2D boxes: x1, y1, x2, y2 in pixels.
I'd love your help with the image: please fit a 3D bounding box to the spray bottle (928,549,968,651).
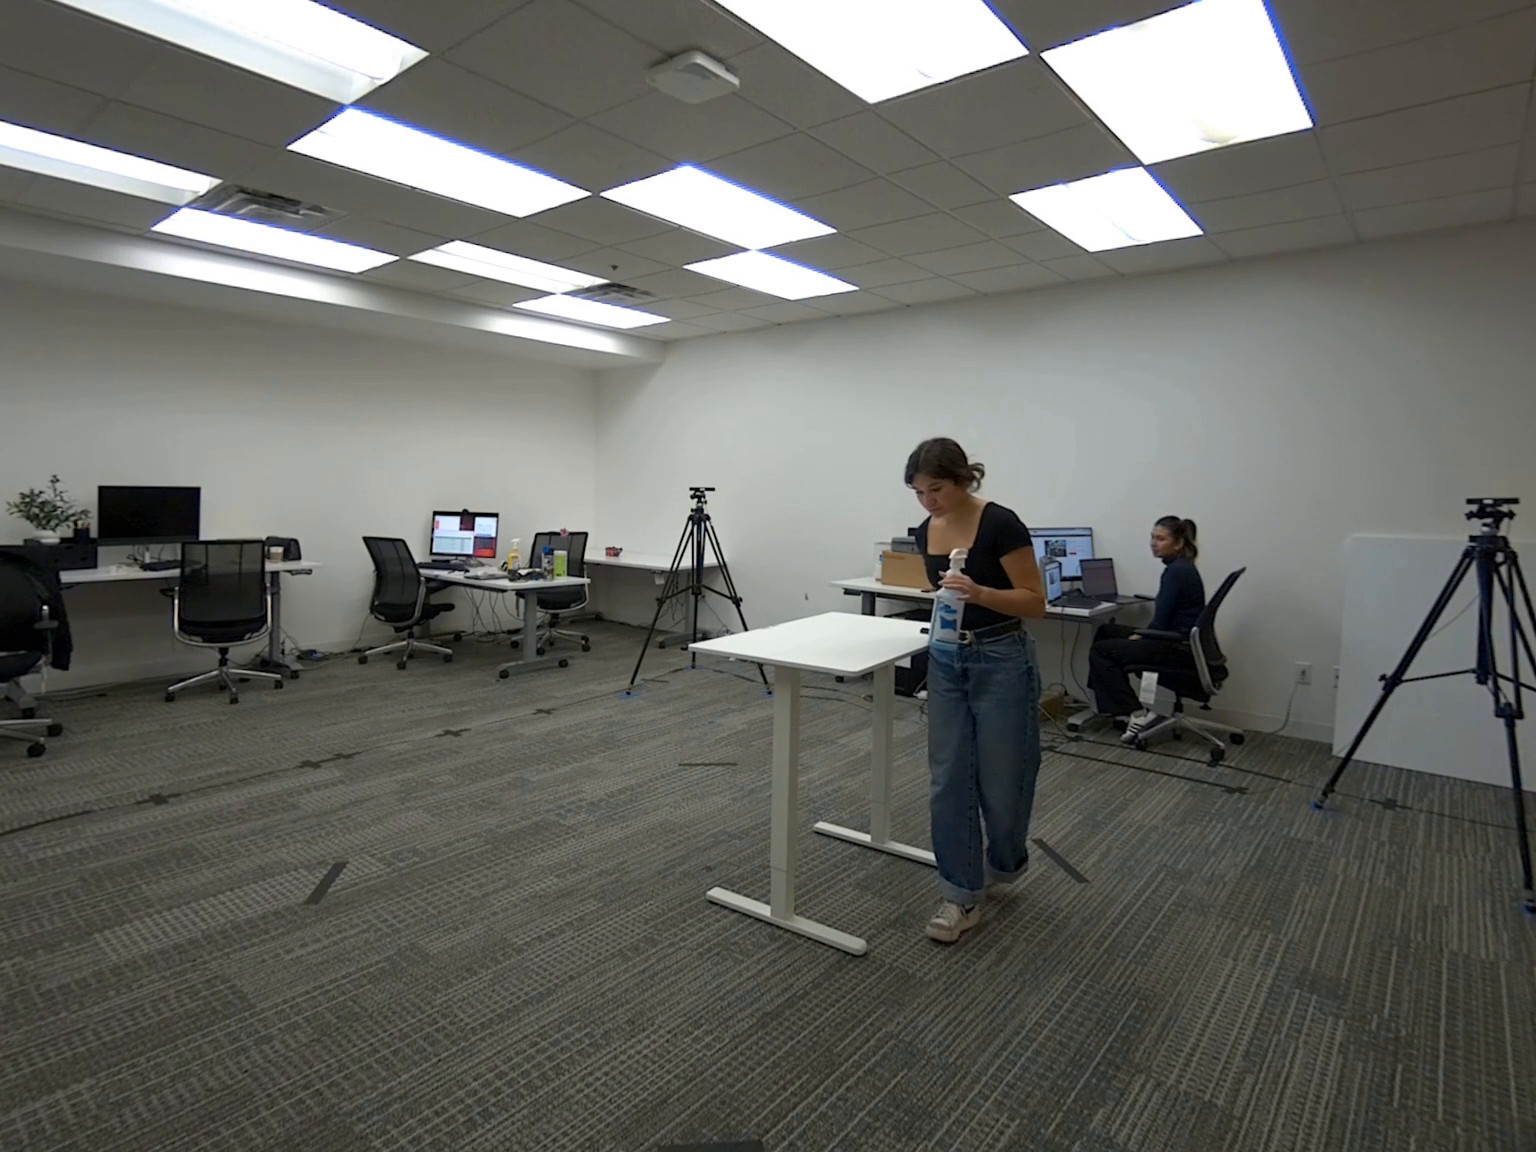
[{"bbox_3d":[0.544,0.069,2.499,0.088,0.297,0.089,8,0,-24],"label":"spray bottle"}]
